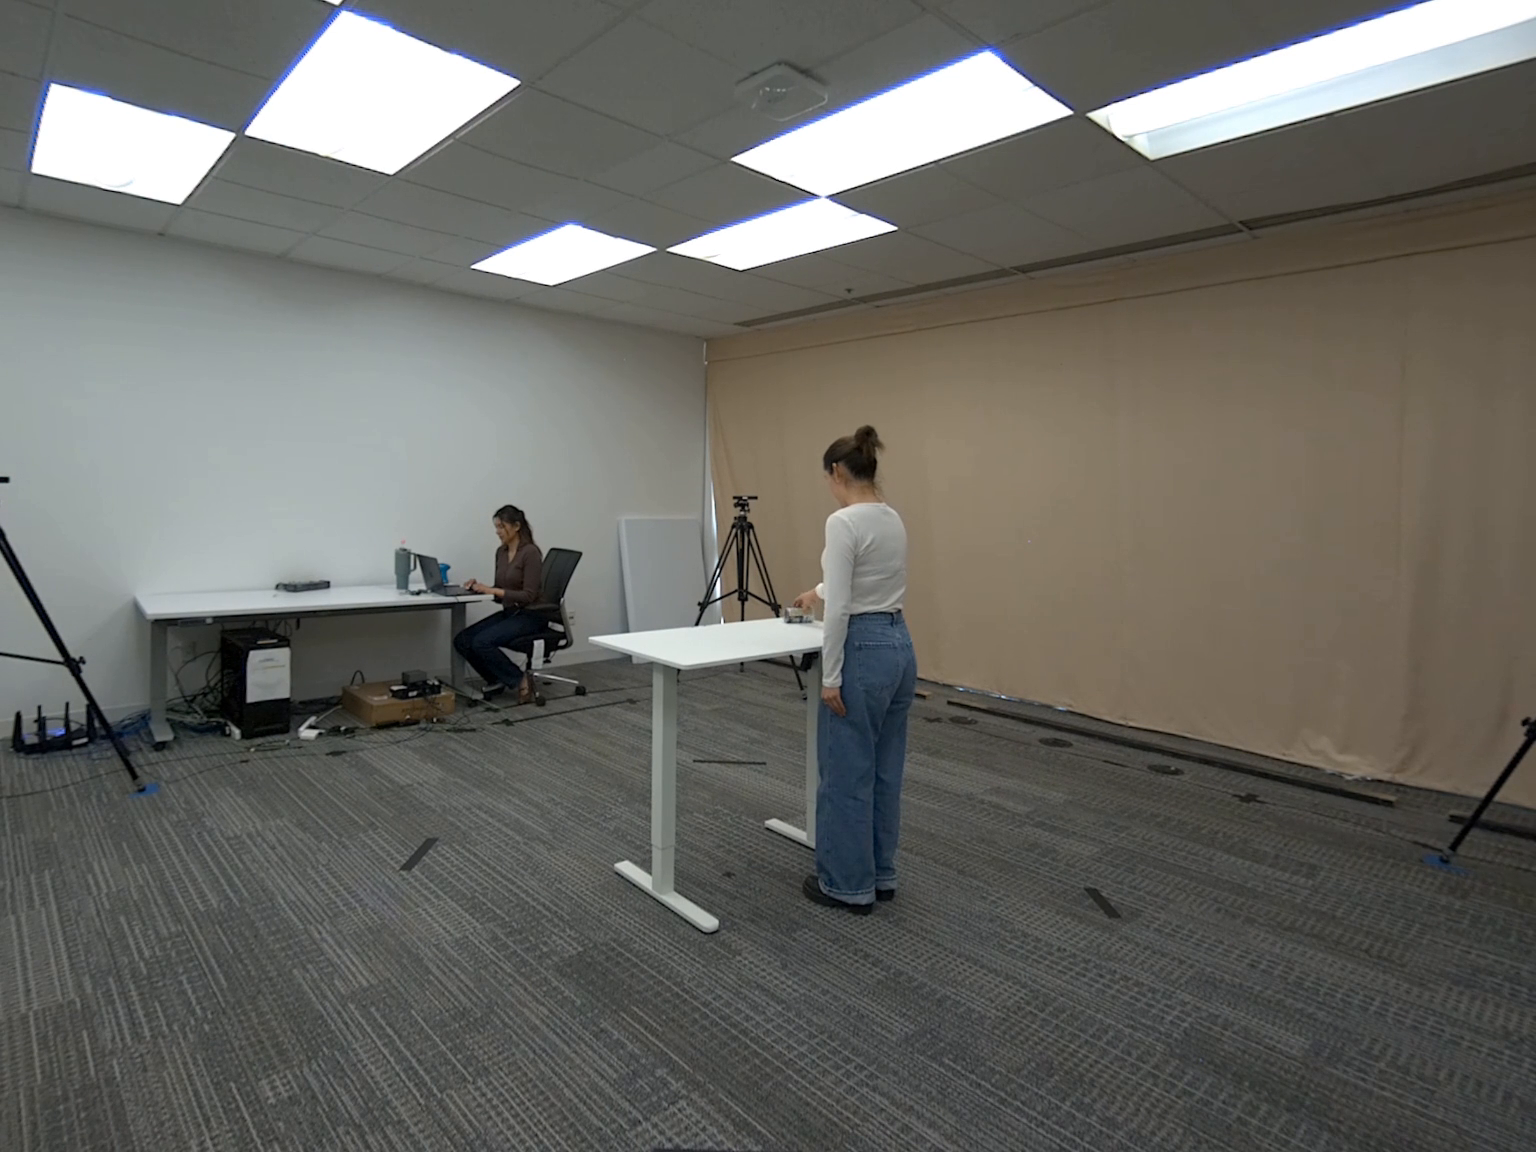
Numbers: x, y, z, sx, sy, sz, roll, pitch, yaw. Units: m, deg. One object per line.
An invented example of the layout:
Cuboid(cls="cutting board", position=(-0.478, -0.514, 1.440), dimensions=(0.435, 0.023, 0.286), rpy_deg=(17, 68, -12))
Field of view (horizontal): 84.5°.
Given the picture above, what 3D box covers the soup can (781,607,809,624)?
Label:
Cuboid(cls="soup can", position=(0.115, 0.161, 3.458), dimensions=(0.119, 0.067, 0.068), rpy_deg=(-3, 6, -24))
